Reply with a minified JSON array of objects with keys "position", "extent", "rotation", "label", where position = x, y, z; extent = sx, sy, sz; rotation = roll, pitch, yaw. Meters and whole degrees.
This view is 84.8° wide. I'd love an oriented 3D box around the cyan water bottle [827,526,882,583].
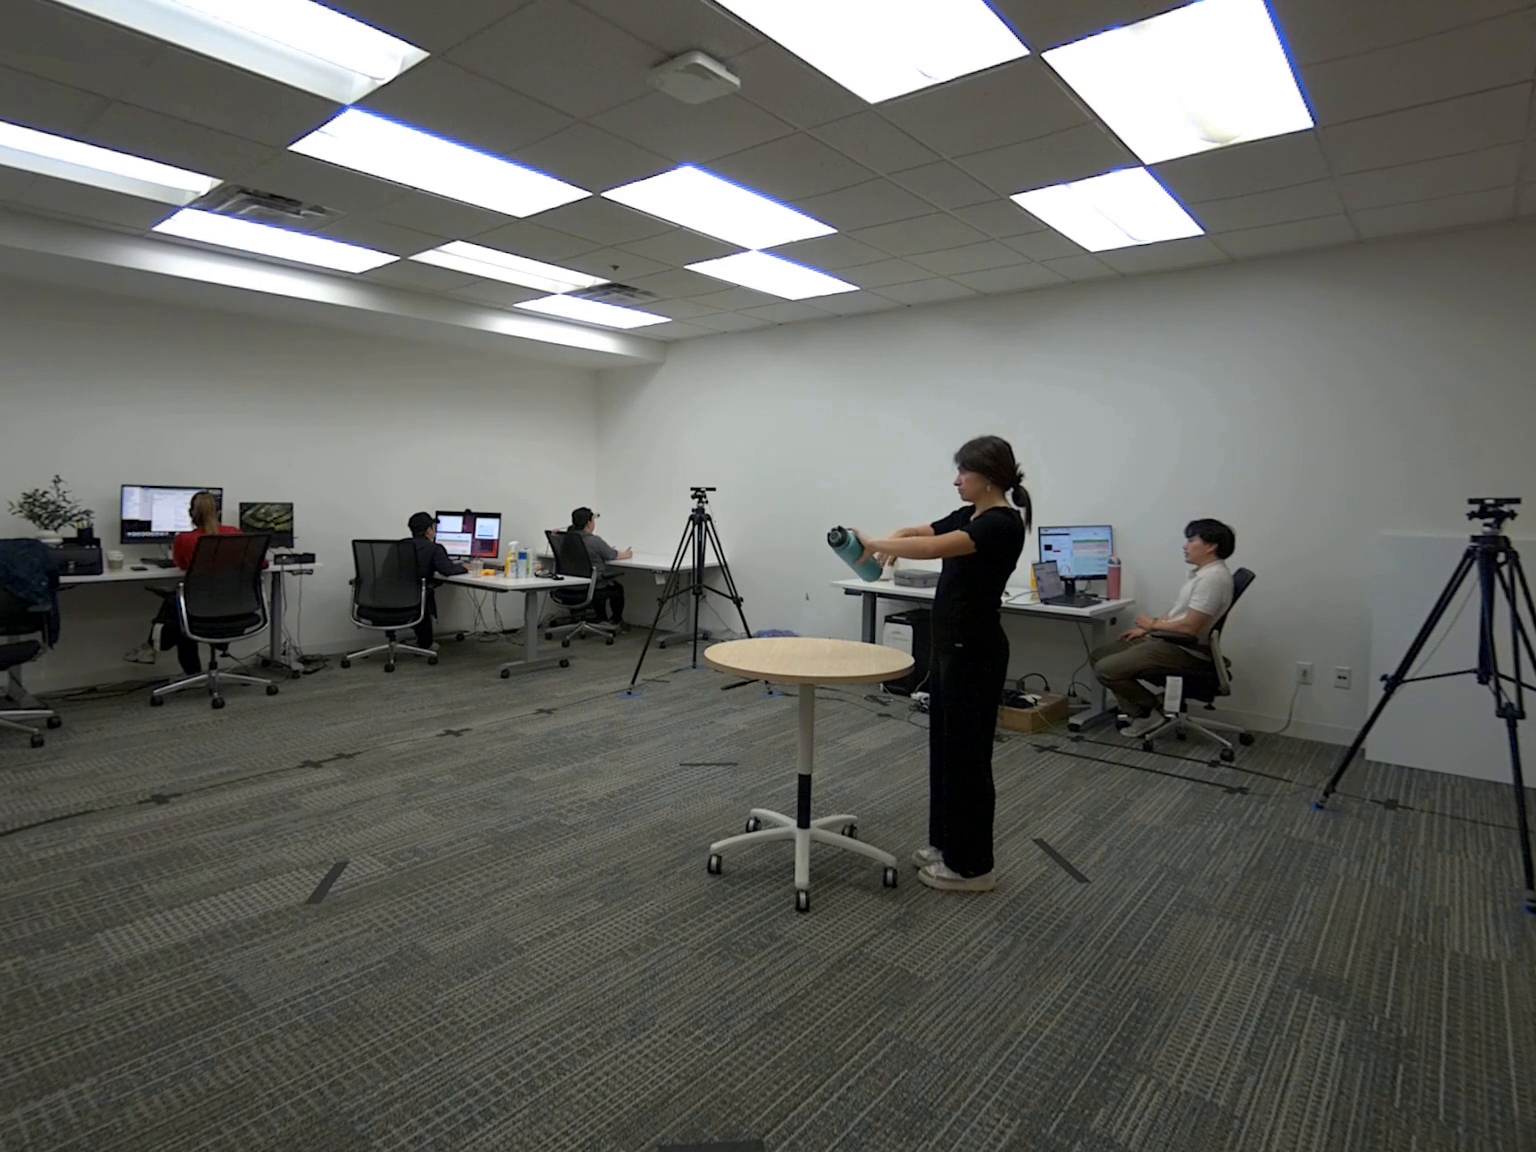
[{"position":[0.299,-0.085,3.039],"extent":[0.095,0.093,0.272],"rotation":[5,-28,47],"label":"cyan water bottle"}]
